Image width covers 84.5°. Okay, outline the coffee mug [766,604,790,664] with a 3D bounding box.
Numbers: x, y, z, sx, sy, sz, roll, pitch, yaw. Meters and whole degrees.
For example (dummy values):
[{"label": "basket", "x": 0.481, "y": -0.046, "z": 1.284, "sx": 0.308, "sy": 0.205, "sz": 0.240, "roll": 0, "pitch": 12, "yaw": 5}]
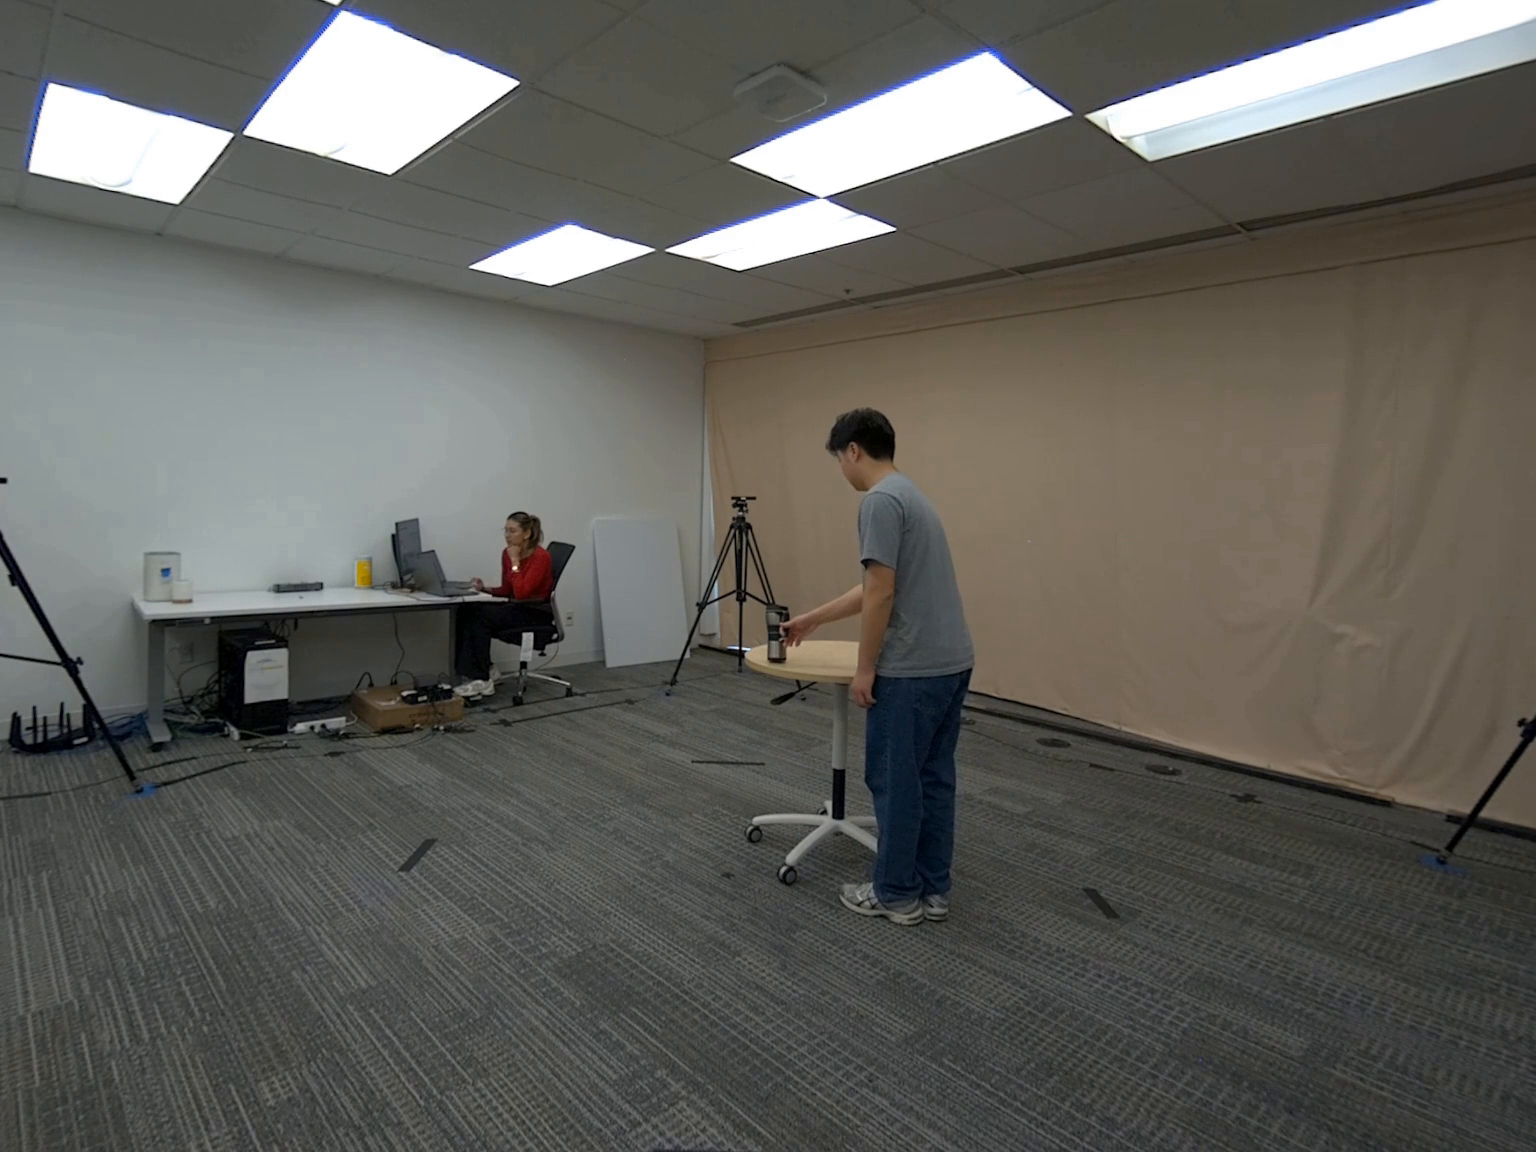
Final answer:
[{"label": "coffee mug", "x": 0.041, "y": 0.215, "z": 3.178, "sx": 0.088, "sy": 0.203, "sz": 0.122, "roll": -2, "pitch": -1, "yaw": -2}]
